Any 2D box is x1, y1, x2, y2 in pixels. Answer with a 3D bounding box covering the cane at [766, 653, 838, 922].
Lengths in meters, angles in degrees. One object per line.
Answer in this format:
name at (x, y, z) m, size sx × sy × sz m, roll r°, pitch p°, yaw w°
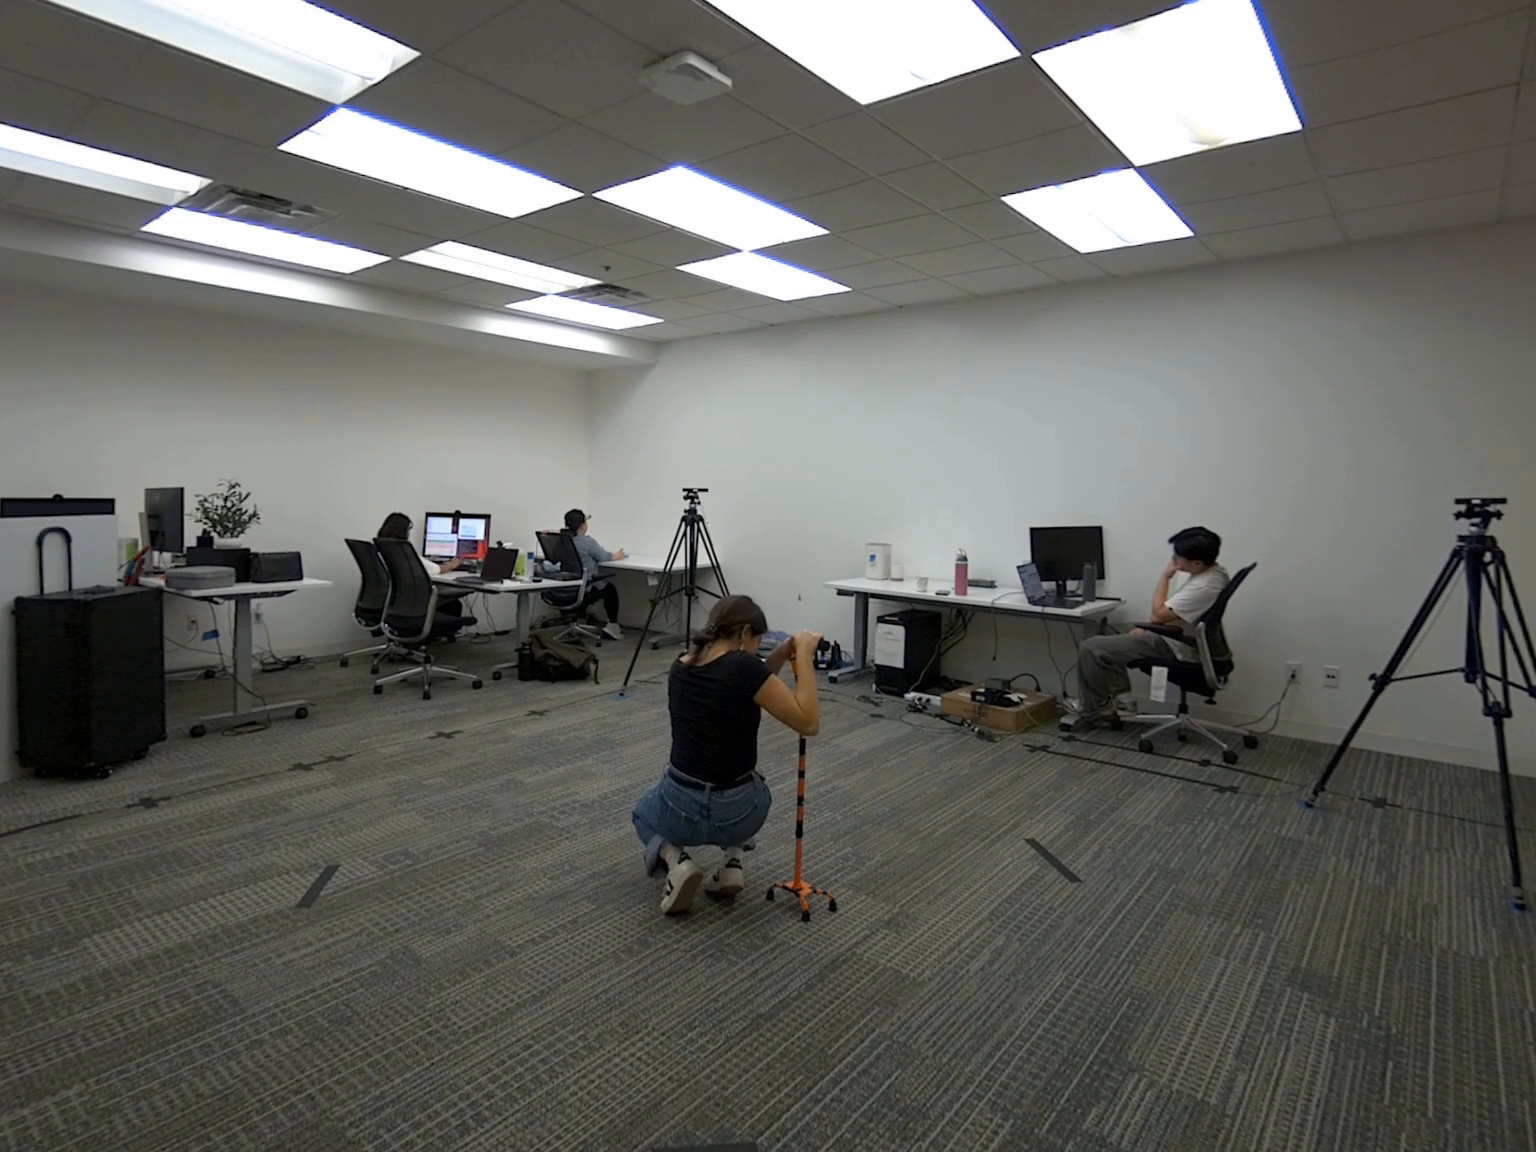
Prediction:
cane at (0.125, 0.648, 2.837) m, size 0.147 × 0.905 × 0.213 m, roll -1°, pitch 4°, yaw -40°
